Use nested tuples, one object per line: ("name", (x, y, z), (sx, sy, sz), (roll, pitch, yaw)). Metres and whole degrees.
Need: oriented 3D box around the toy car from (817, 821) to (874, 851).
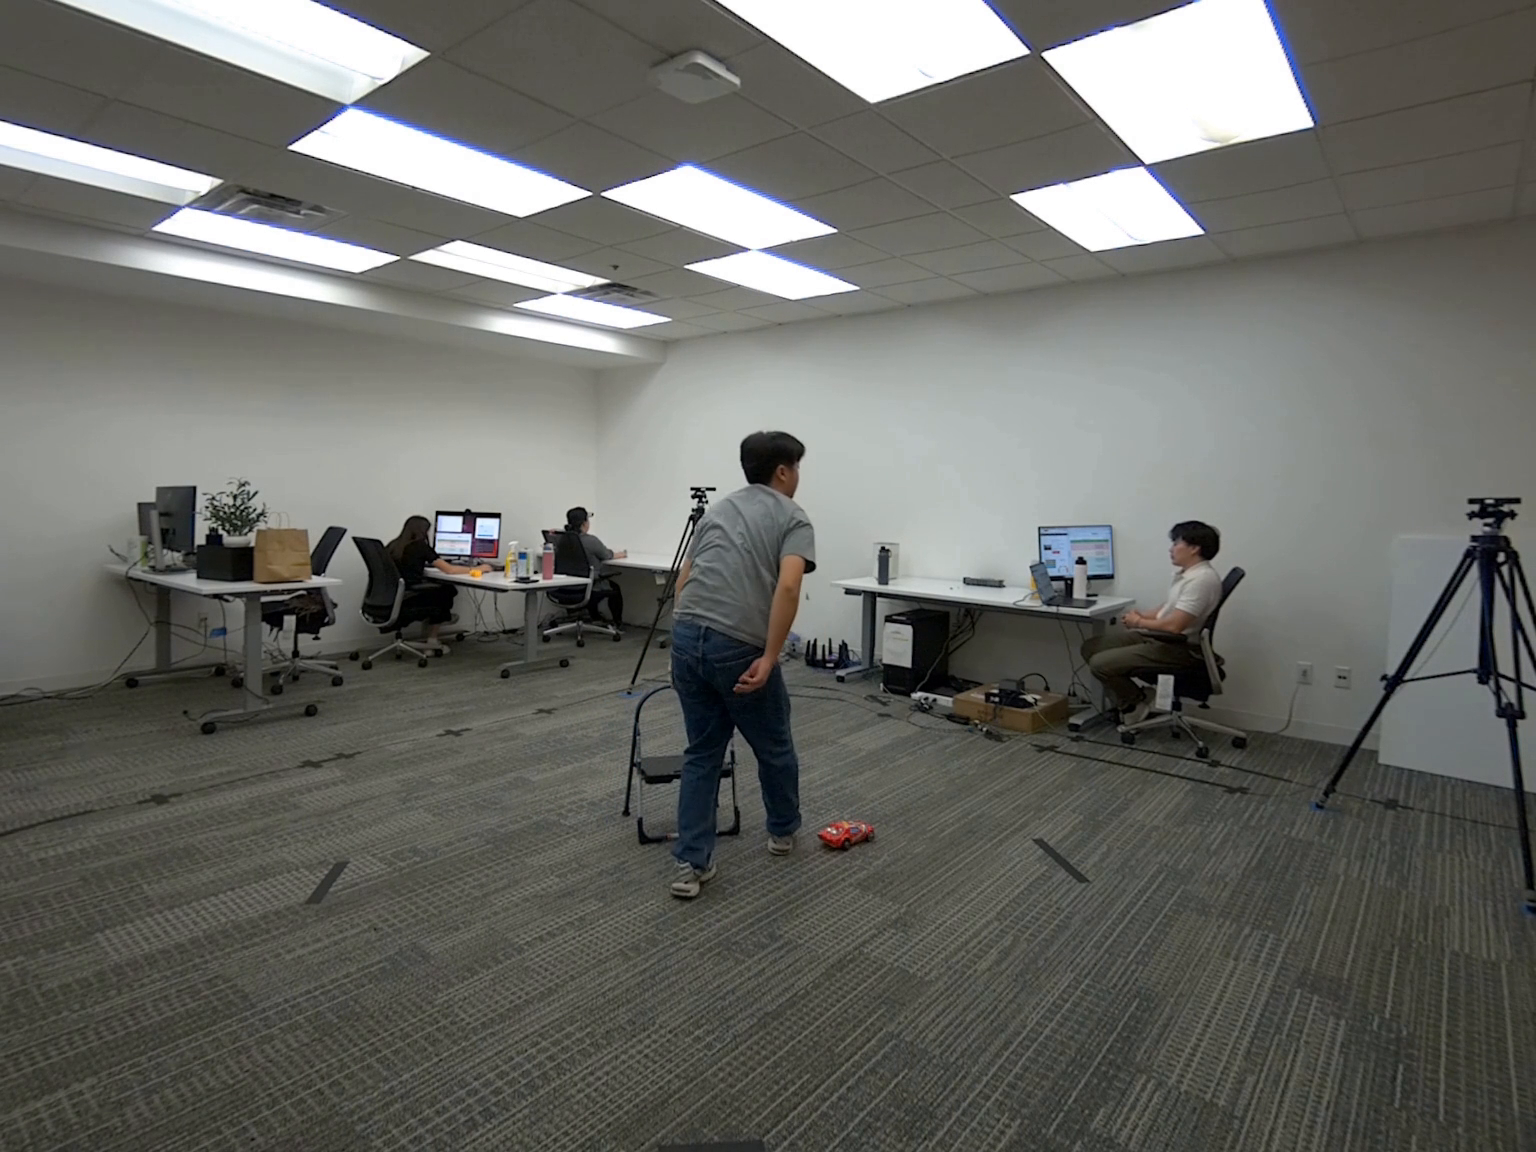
("toy car", (0.296, 1.021, 3.363), (0.245, 0.083, 0.135), (11, -2, -40))
